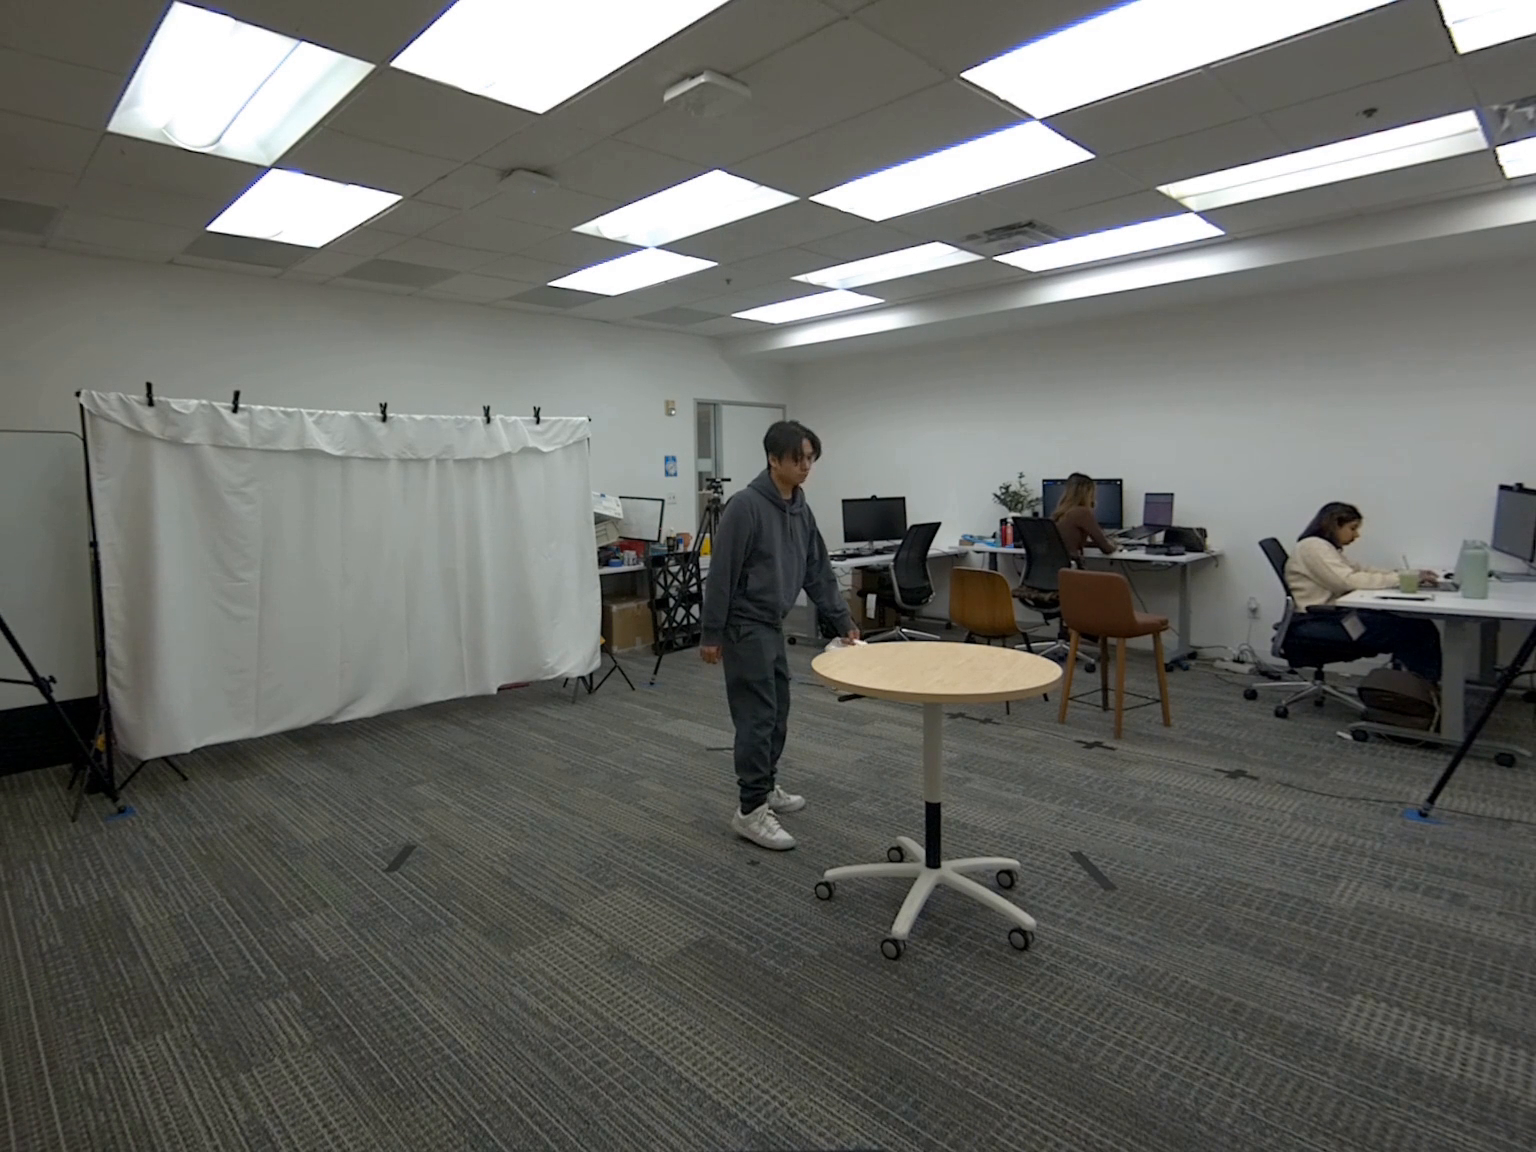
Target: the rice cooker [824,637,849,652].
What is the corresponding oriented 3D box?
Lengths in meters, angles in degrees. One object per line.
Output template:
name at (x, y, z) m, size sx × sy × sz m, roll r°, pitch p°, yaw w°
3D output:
rice cooker at (0.343, 0.371, 3.554) m, size 0.228 × 0.231 × 0.212 m, roll 8°, pitch 11°, yaw 41°
